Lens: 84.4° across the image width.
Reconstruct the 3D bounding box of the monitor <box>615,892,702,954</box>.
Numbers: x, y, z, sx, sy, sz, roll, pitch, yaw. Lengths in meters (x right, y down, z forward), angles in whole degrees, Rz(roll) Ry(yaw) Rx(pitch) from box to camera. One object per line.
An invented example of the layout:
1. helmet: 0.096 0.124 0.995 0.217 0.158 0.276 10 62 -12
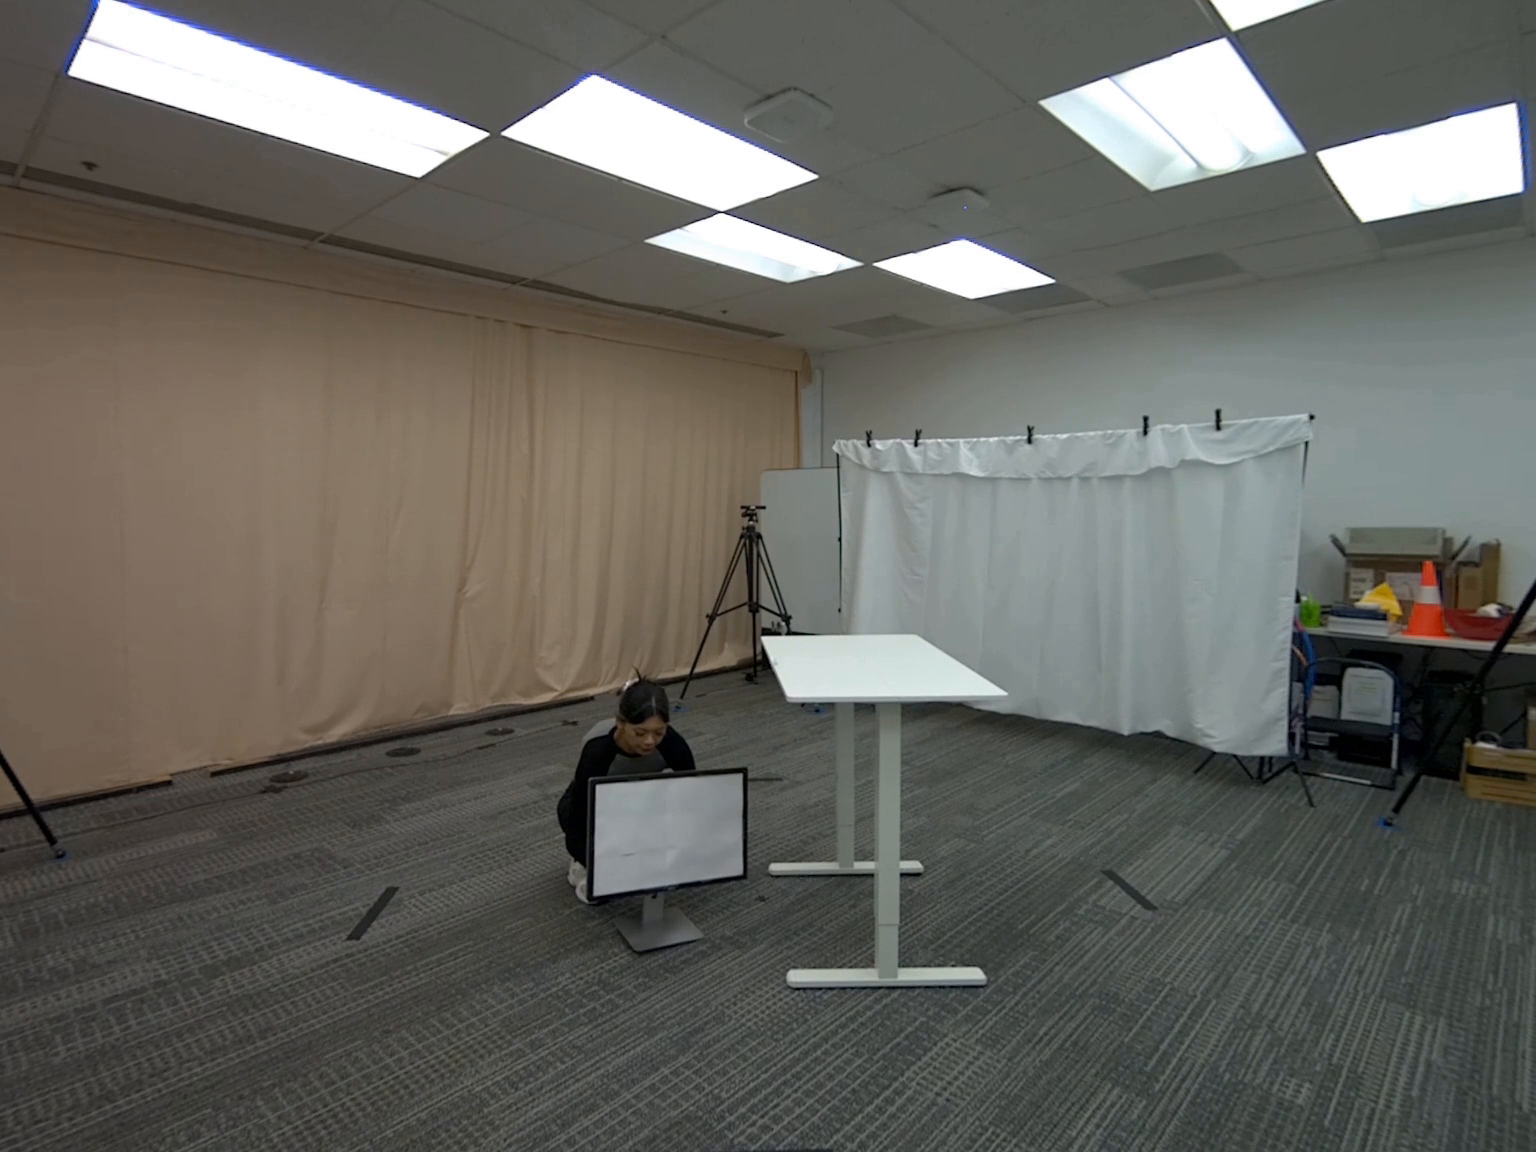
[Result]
1. monitor: -0.339 0.890 2.719 0.523 0.521 0.193 2 6 -32
